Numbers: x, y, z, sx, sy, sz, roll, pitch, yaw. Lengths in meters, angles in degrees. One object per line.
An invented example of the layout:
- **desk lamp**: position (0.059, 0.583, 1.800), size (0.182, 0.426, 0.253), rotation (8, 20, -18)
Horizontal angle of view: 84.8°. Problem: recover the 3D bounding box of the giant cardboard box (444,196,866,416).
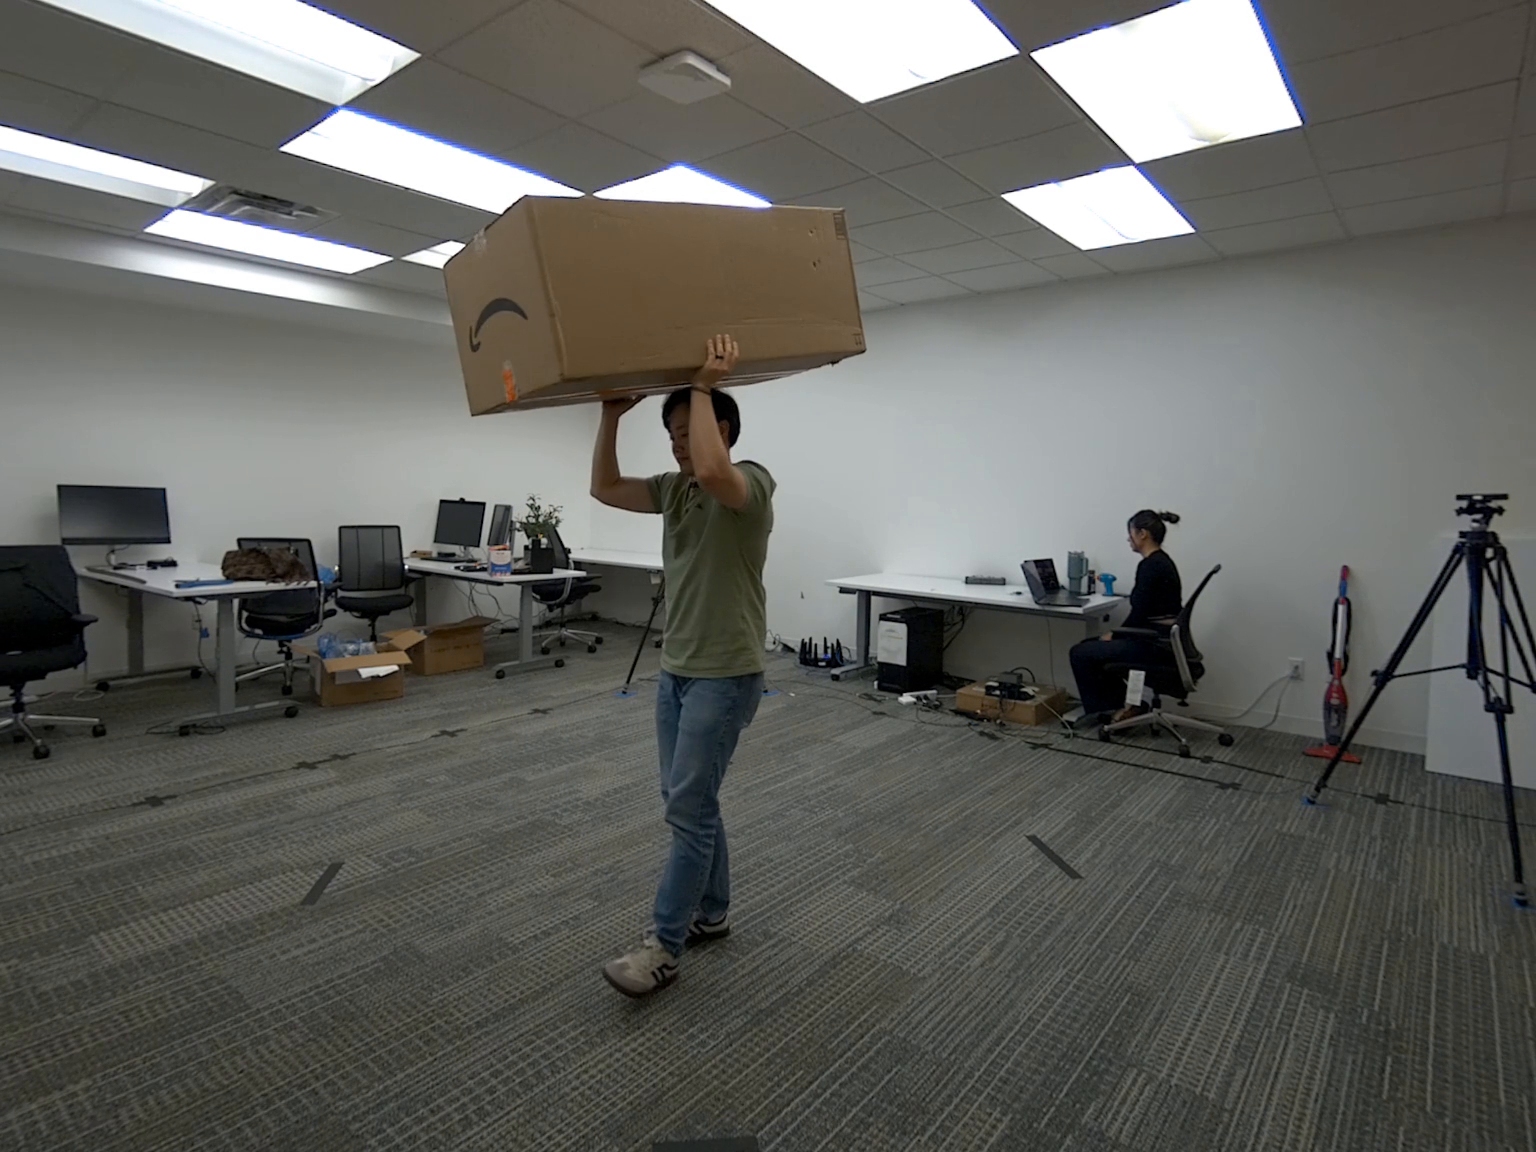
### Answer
- **giant cardboard box**: position (-0.310, -0.757, 2.440), size (1.003, 0.423, 0.595), rotation (-16, 10, -37)
